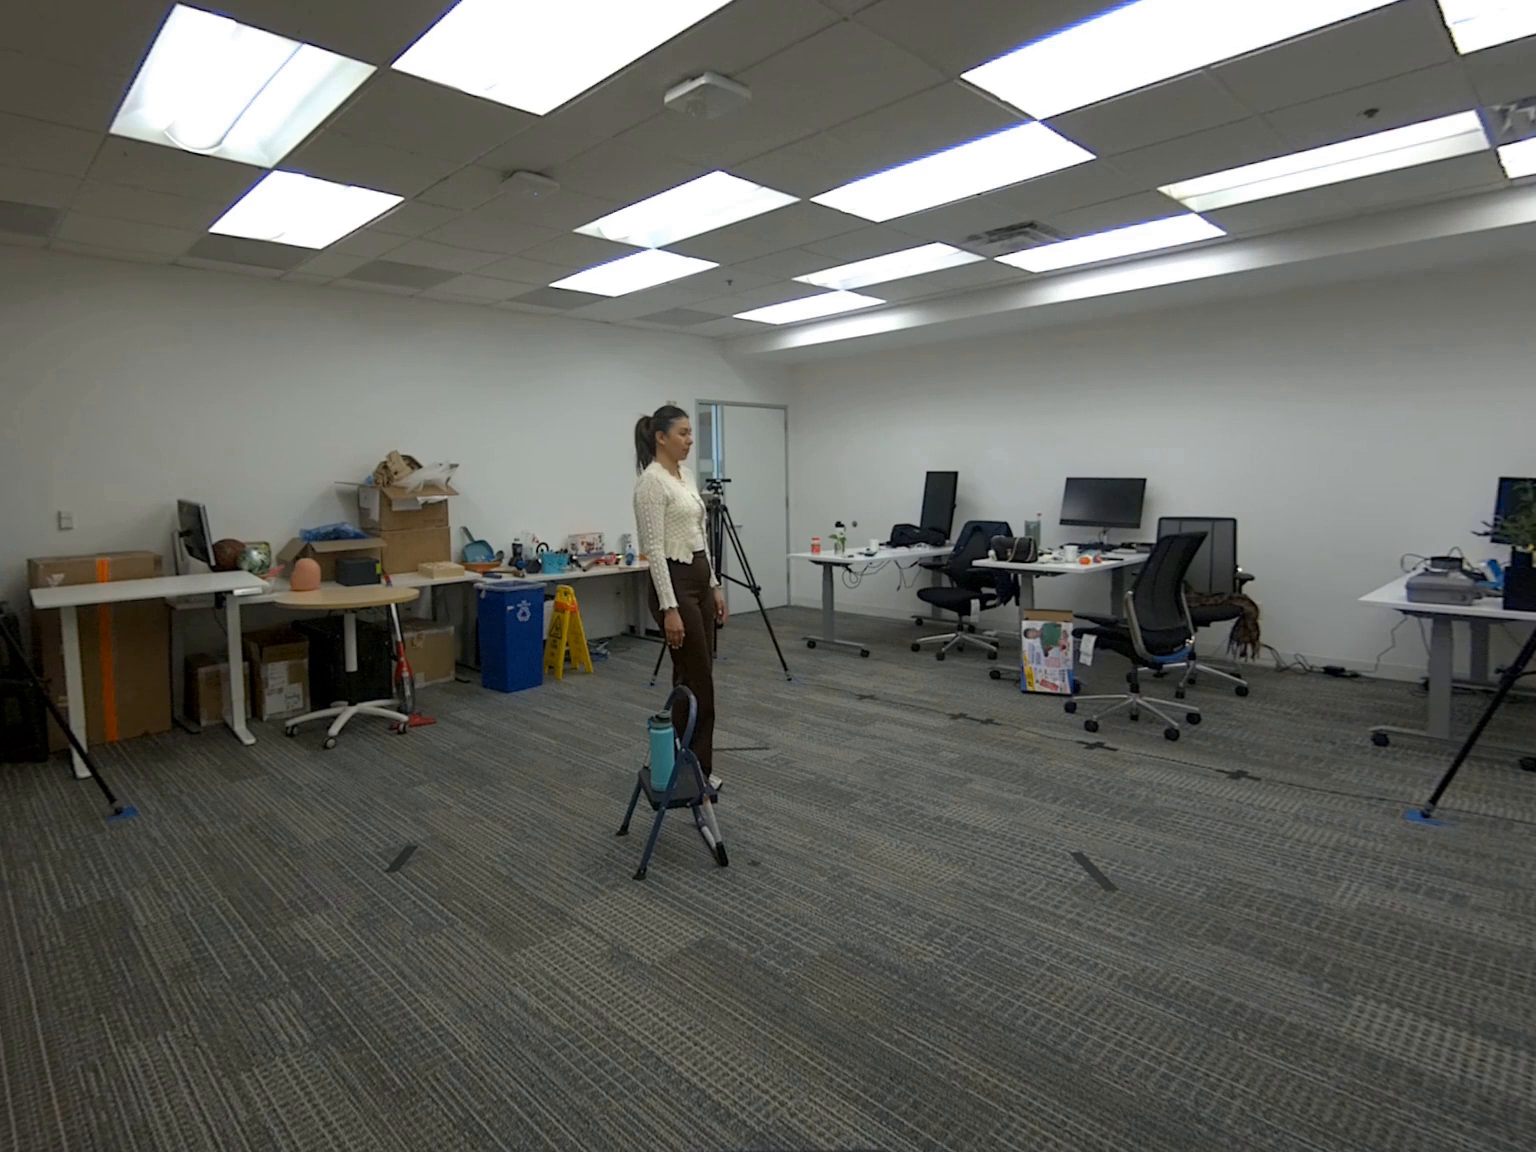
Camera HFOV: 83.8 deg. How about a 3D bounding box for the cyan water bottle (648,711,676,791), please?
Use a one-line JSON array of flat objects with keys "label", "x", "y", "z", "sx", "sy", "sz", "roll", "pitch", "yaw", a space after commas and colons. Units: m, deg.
[{"label": "cyan water bottle", "x": -0.403, "y": 0.649, "z": 3.159, "sx": 0.092, "sy": 0.282, "sz": 0.092, "roll": -4, "pitch": 3, "yaw": -1}]
